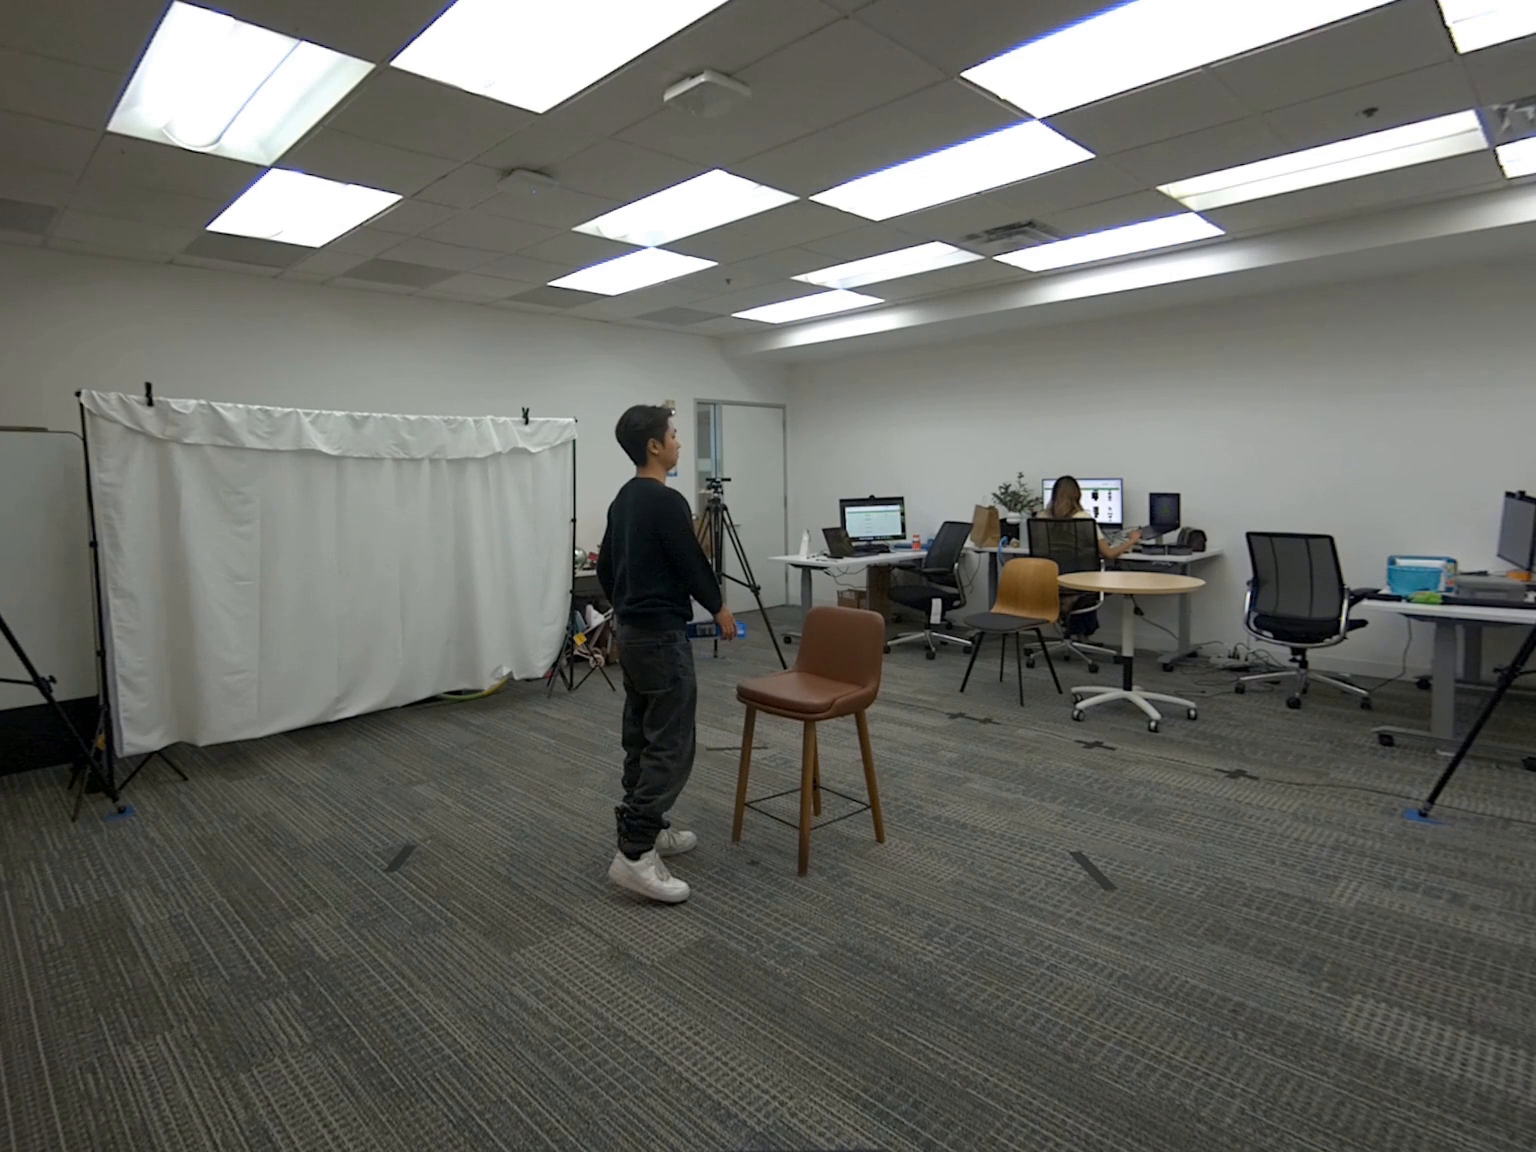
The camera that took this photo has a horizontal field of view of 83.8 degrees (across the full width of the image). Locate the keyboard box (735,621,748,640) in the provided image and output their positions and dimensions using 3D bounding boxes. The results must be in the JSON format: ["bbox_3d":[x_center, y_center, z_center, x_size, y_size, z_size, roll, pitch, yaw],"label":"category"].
[{"bbox_3d":[-0.322,0.224,3.396,0.448,0.059,0.170,-6,-6,39],"label":"keyboard box"}]
